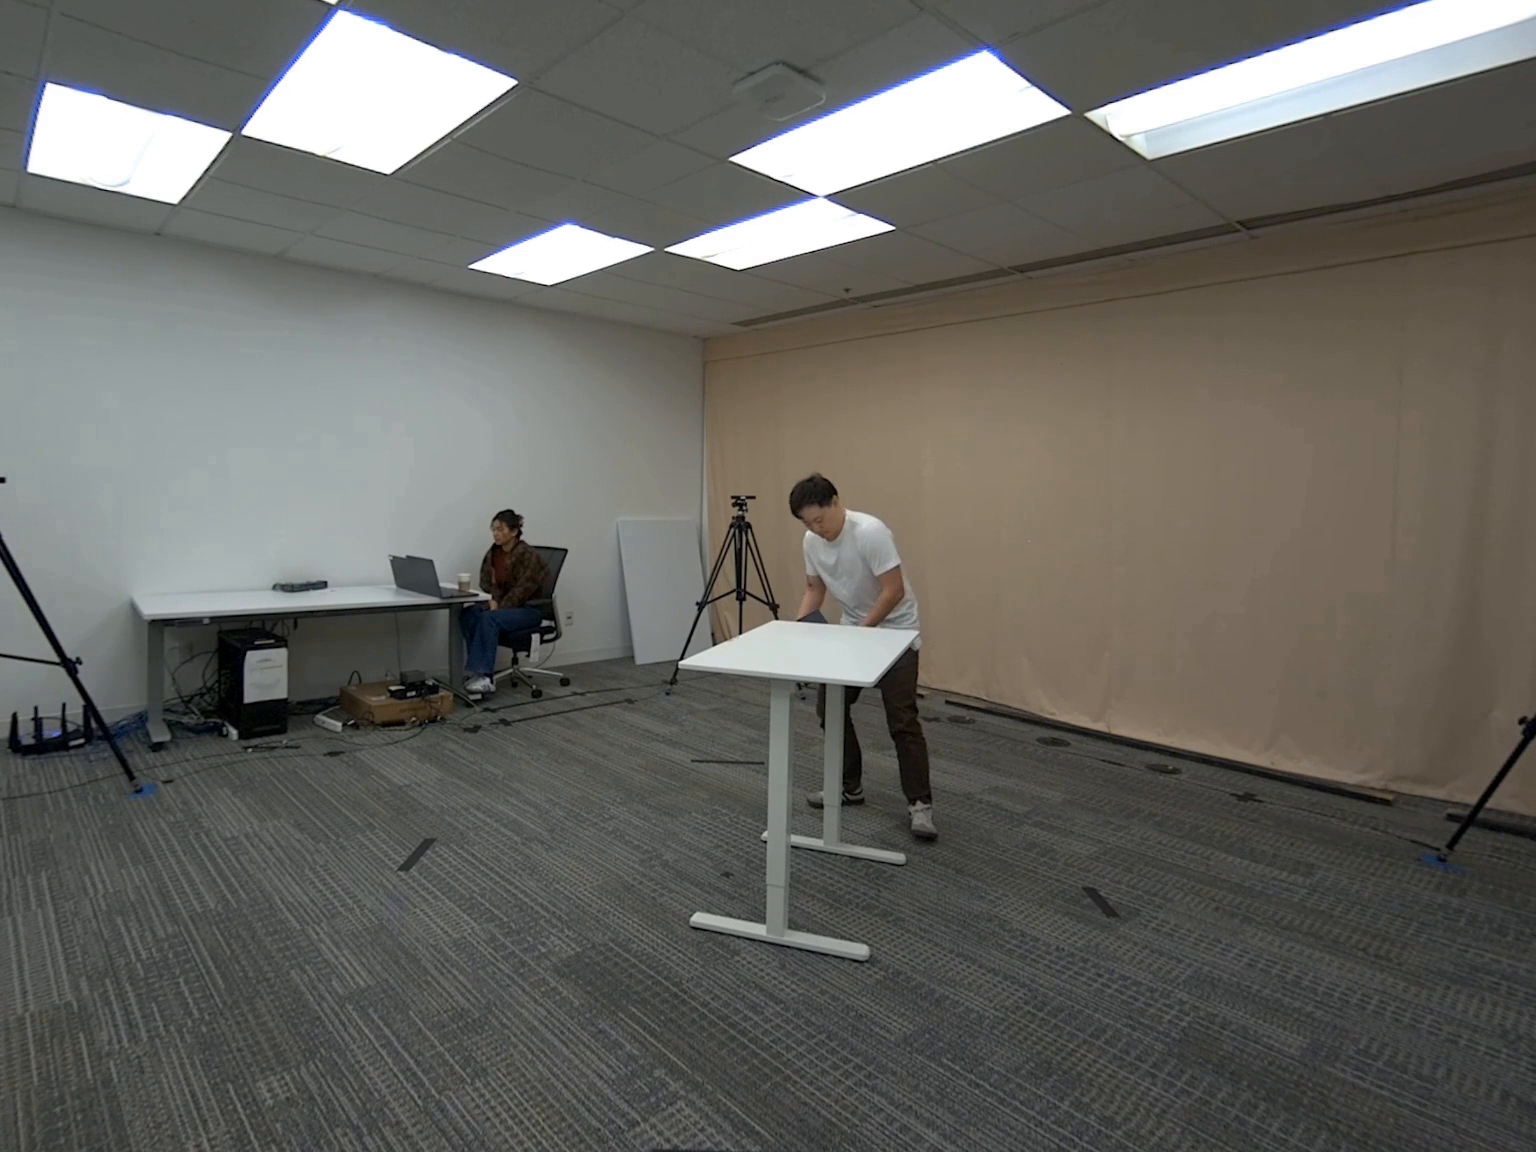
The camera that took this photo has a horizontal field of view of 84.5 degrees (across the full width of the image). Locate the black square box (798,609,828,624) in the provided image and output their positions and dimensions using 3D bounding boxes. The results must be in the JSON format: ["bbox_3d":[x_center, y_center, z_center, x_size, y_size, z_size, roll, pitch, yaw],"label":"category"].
[{"bbox_3d":[0.186,0.323,3.683,0.217,0.151,0.235,-28,44,-4],"label":"black square box"}]
